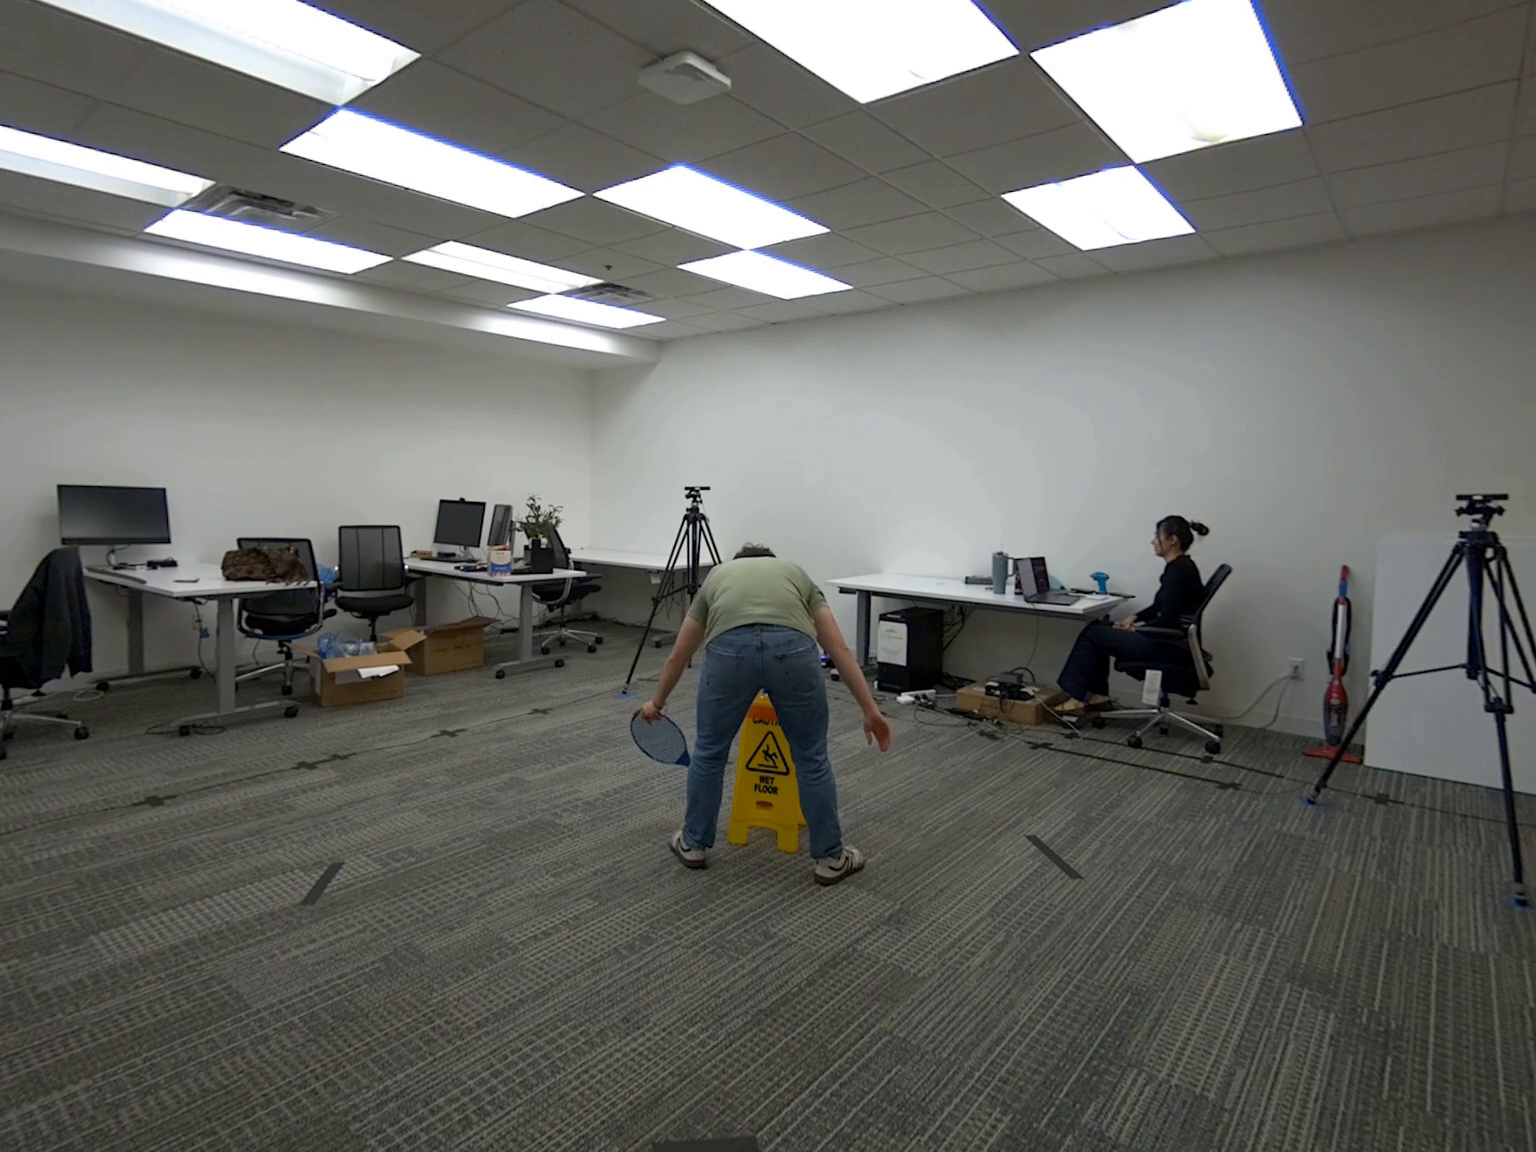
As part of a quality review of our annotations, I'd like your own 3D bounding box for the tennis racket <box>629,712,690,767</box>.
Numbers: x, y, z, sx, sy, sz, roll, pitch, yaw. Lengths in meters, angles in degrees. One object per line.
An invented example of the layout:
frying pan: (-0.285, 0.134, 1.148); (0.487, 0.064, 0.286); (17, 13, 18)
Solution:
tennis racket: (-0.424, 0.729, 3.516); (0.214, 0.435, 0.031); (-46, -3, 20)
